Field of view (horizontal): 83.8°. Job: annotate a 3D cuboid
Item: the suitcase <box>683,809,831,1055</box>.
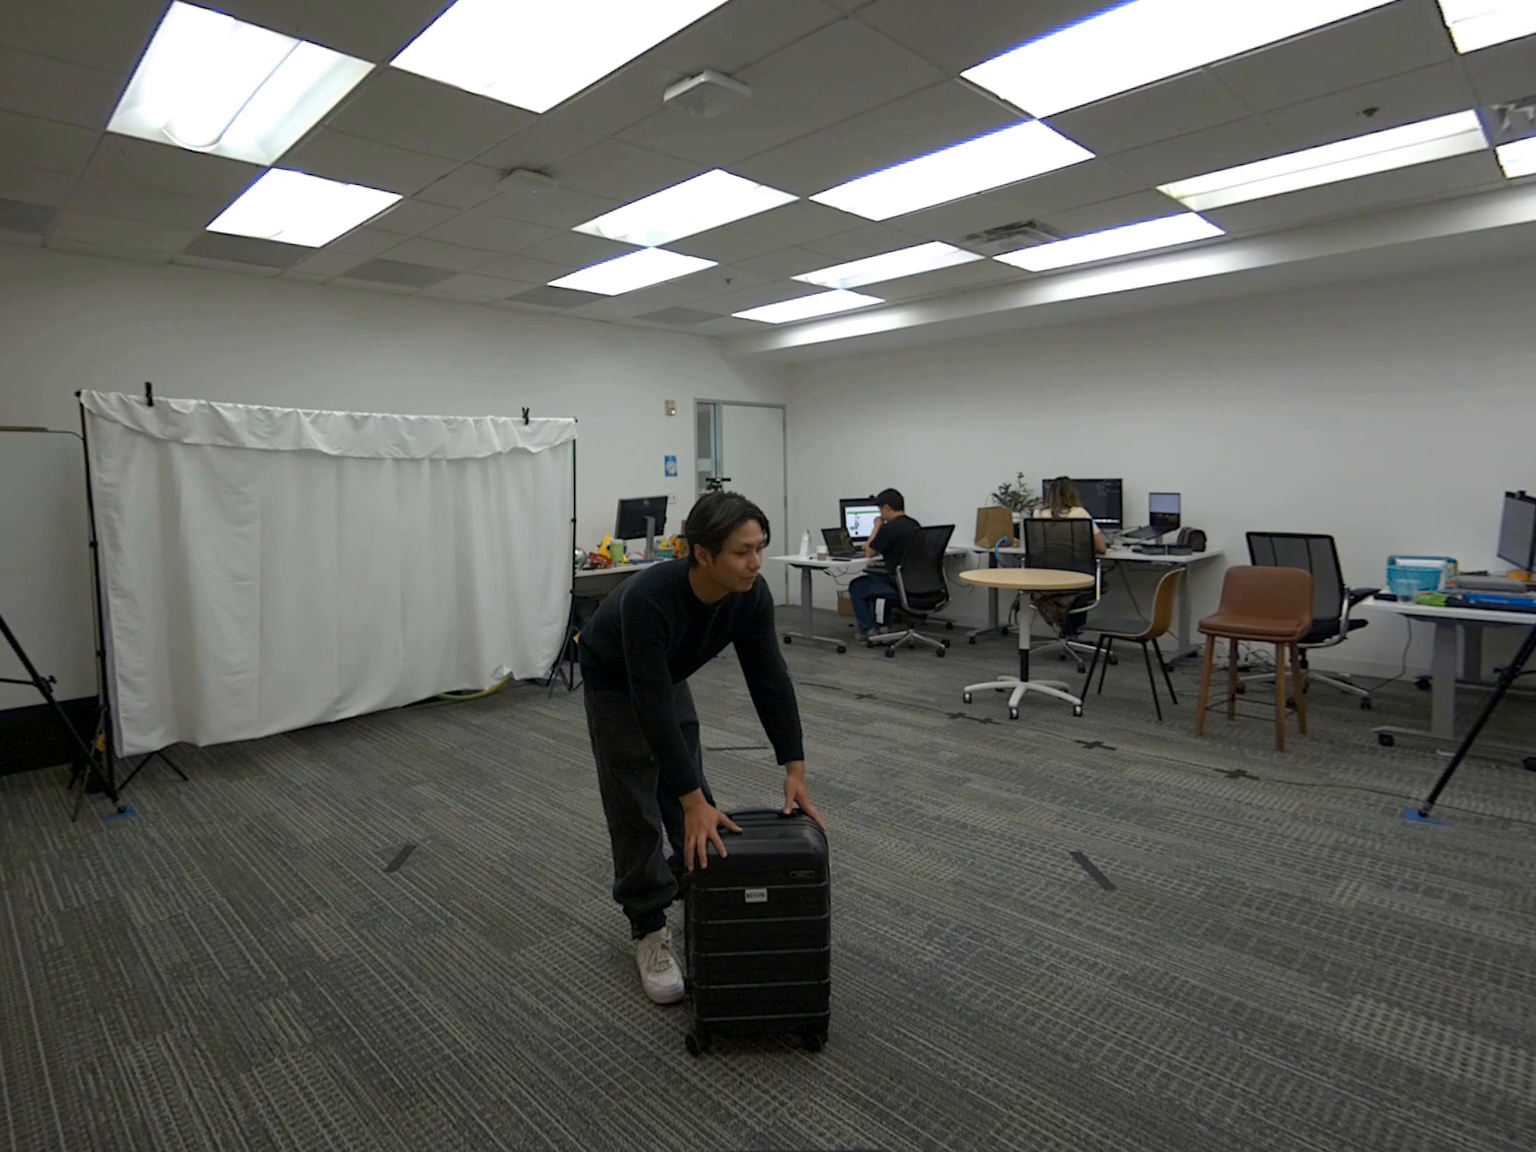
[{"bbox_3d":[-0.015,0.879,2.159,0.374,0.547,0.250,-1,4,-4],"label":"suitcase"}]
